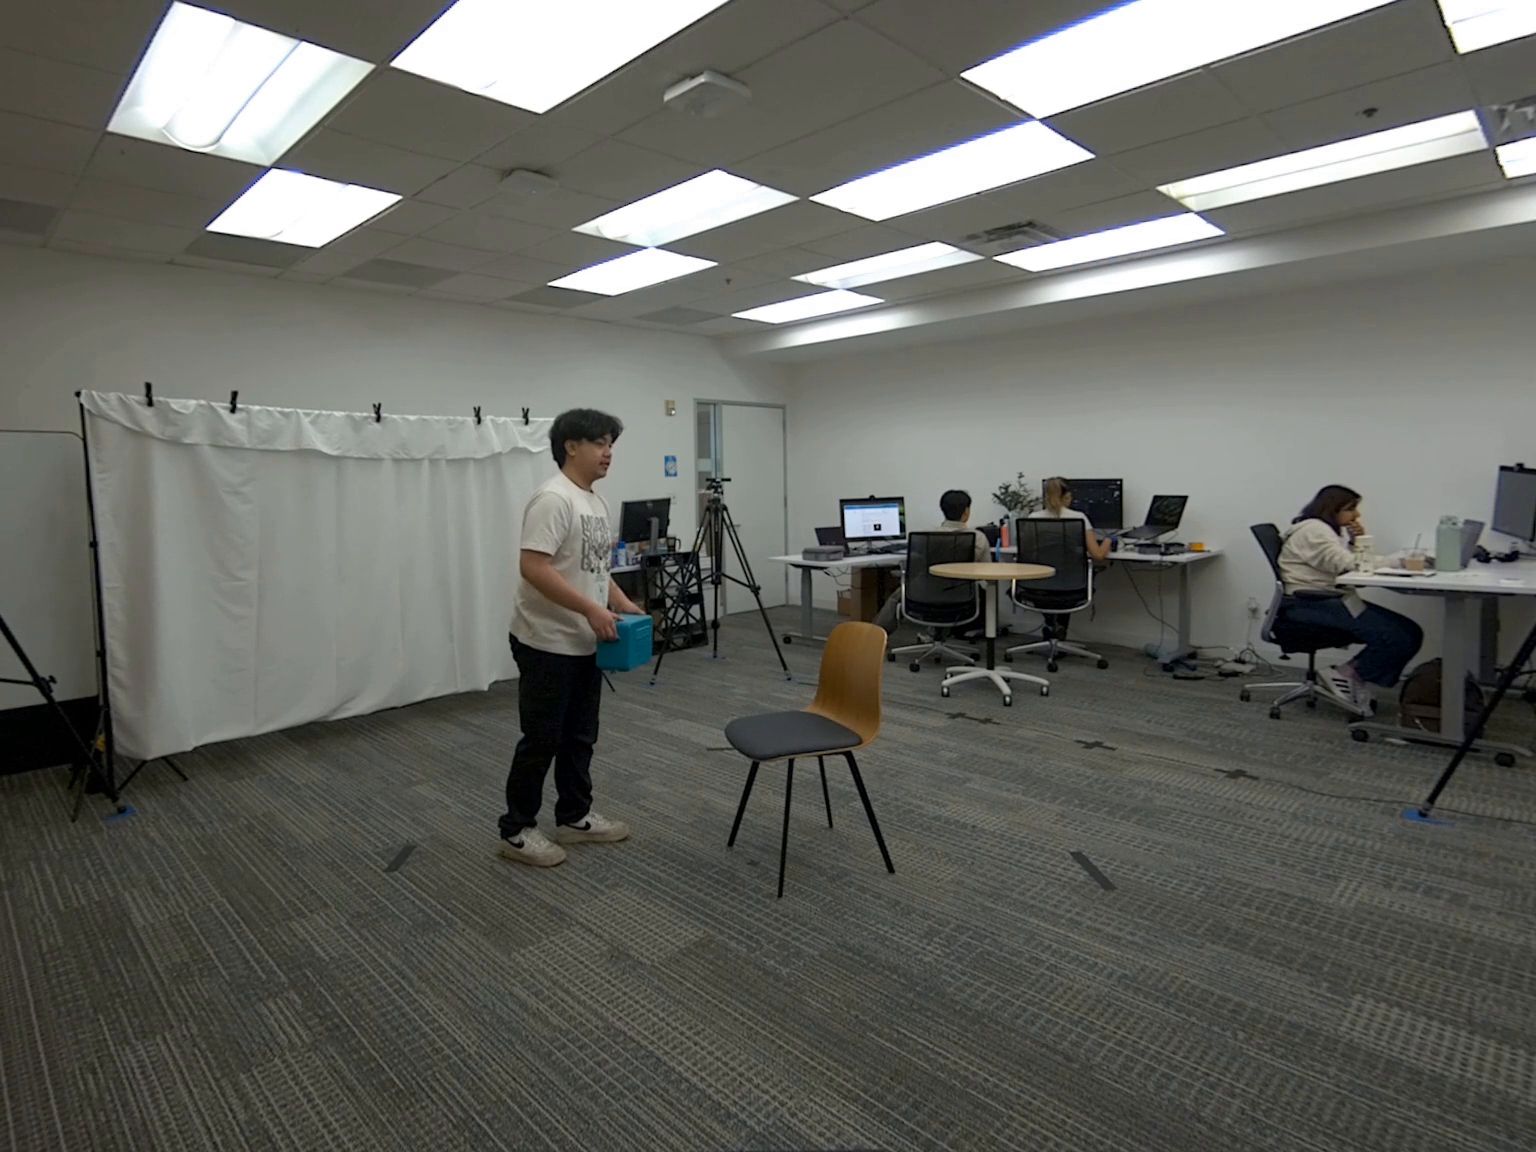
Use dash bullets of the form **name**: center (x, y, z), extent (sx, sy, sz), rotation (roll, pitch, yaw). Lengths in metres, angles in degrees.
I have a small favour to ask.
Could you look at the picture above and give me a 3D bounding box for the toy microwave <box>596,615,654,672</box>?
- **toy microwave**: center (-0.539, 0.242, 3.184), extent (0.154, 0.184, 0.283), rotation (4, 2, 10)
